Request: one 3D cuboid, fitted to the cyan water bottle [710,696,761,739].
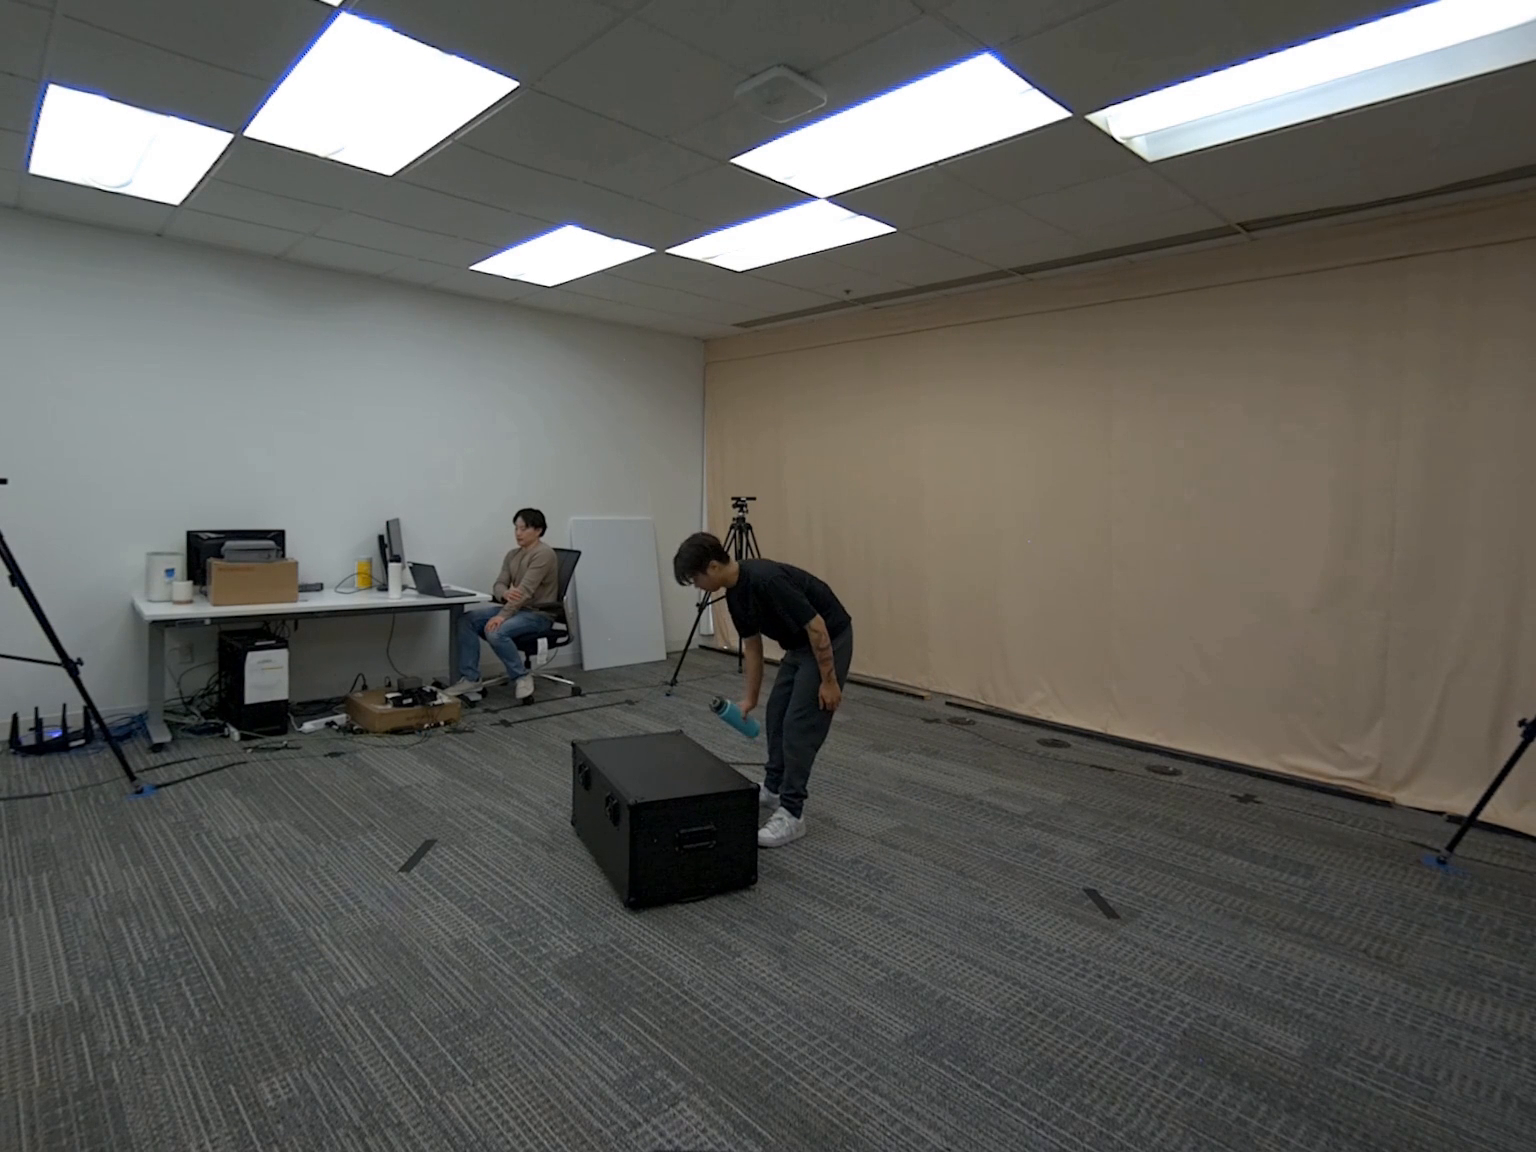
[{"bbox_3d":[-0.167,0.637,3.854,0.276,0.092,0.094,40,-16,-26],"label":"cyan water bottle"}]
